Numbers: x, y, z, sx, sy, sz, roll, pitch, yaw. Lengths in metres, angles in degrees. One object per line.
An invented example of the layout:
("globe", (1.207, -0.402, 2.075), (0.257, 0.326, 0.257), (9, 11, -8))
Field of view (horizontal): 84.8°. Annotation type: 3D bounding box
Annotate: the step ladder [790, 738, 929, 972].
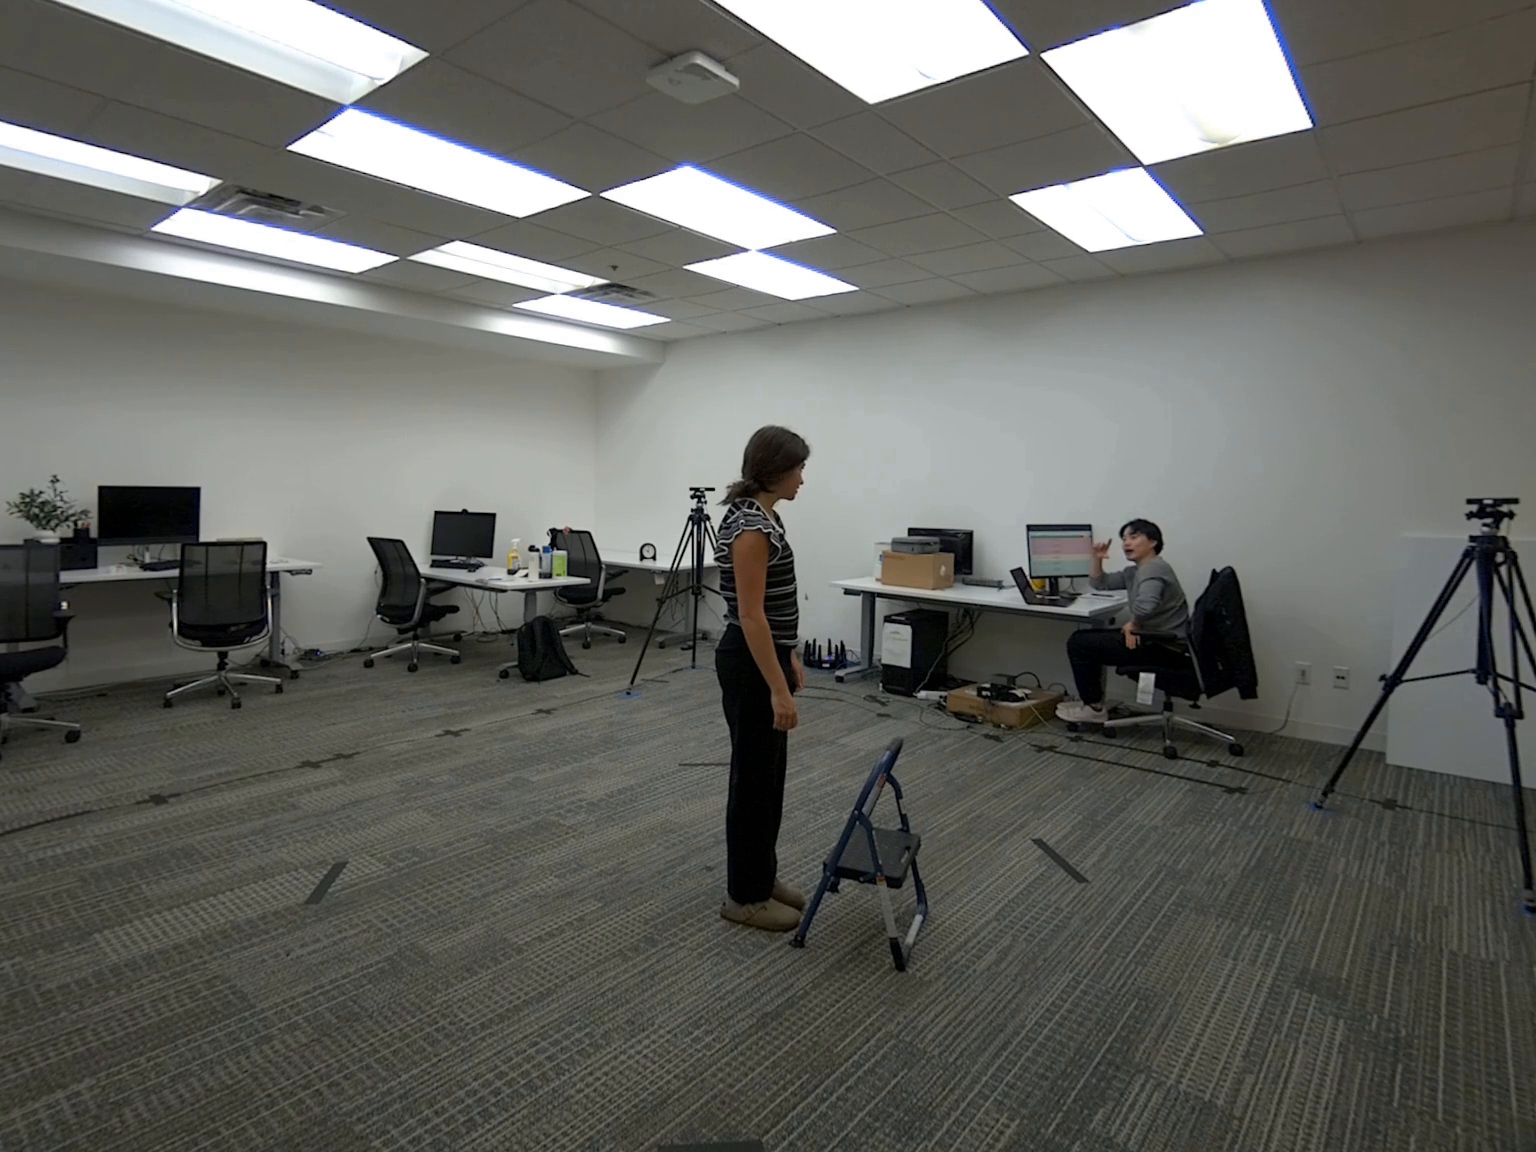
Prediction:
("step ladder", (0.306, 0.819, 2.700), (0.357, 0.604, 0.422), (3, 4, 21))
